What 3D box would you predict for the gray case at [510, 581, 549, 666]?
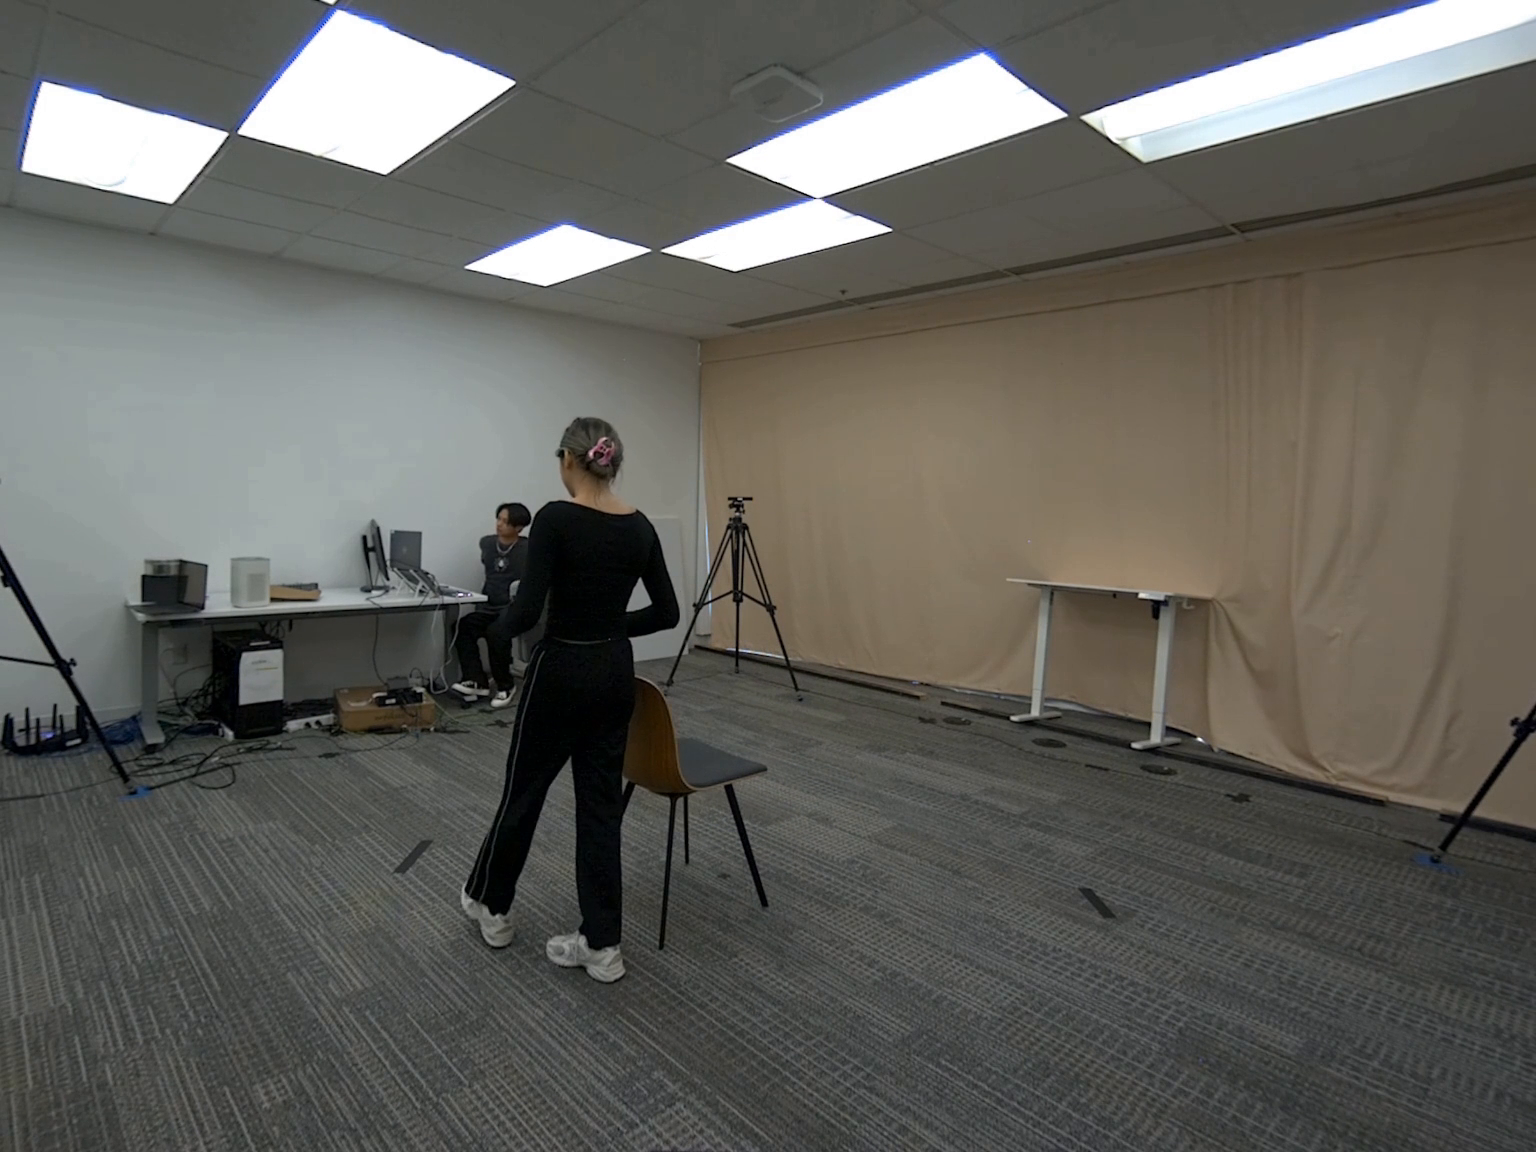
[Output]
[{"bbox_3d":[-0.674,0.131,2.642,0.251,0.260,0.107,-4,1,-44],"label":"gray case"}]
